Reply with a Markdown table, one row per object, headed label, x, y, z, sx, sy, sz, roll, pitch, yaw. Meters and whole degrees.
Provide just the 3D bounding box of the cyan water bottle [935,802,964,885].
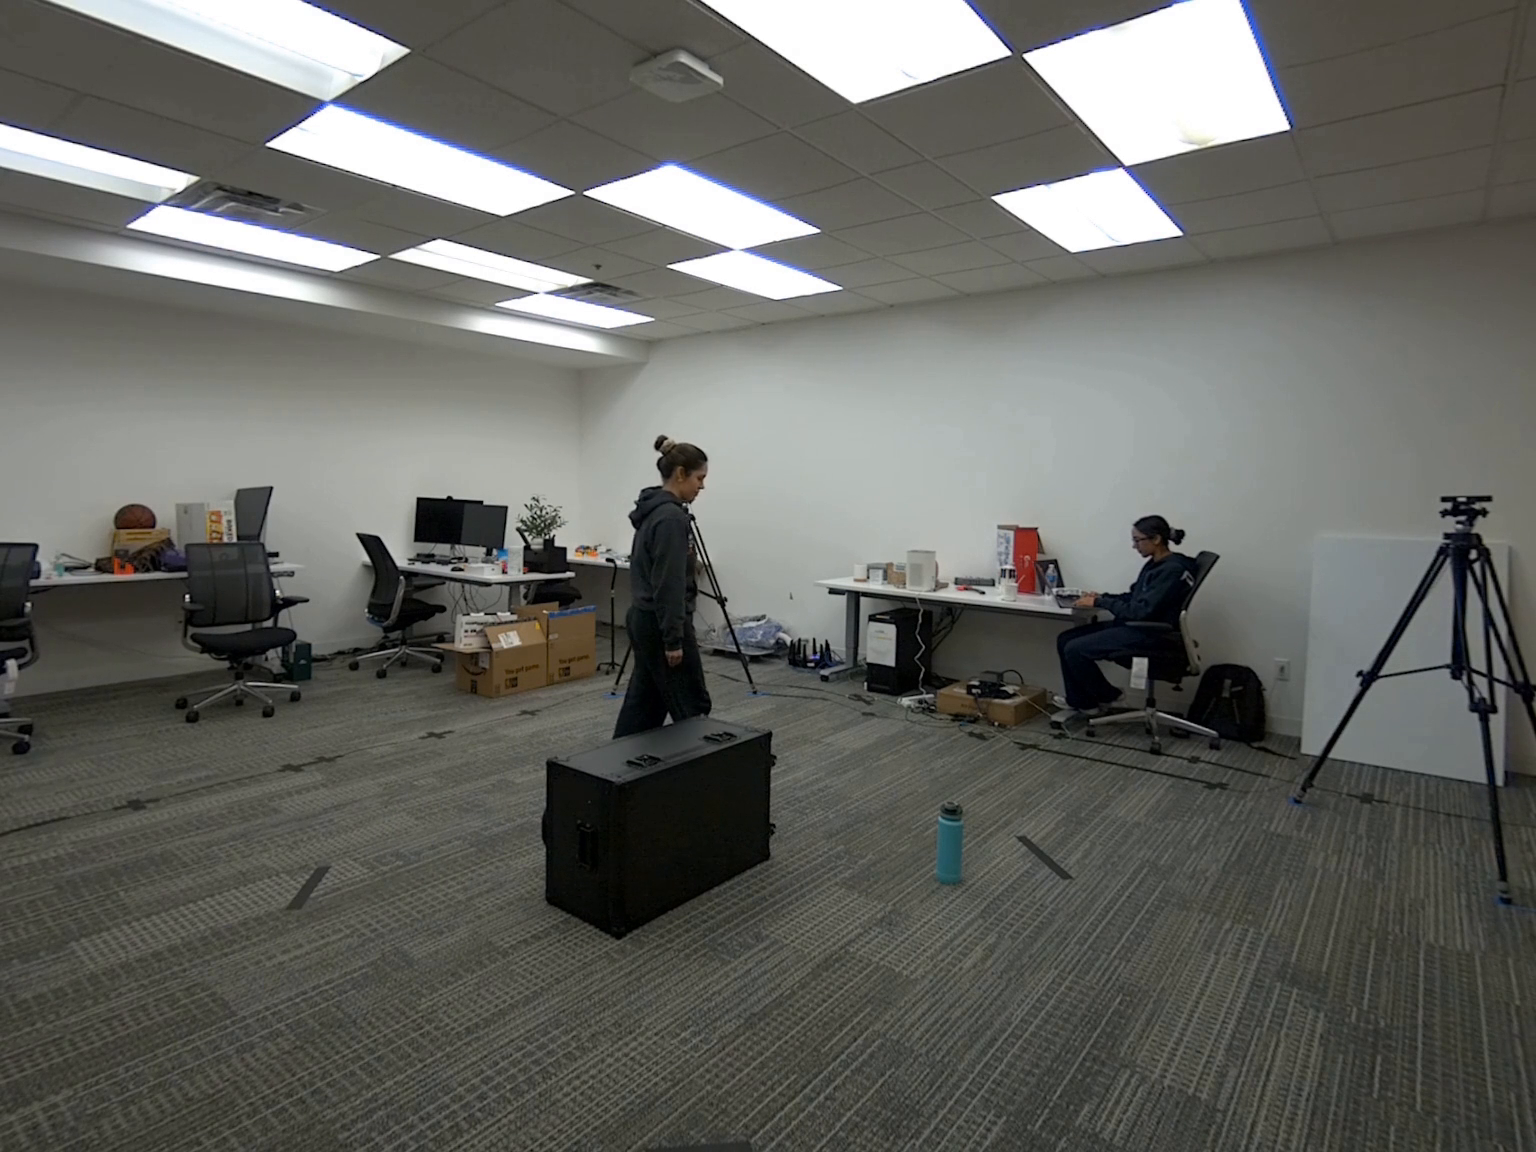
| label | x | y | z | sx | sy | sz | roll | pitch | yaw |
| --- | --- | --- | --- | --- | --- | --- | --- | --- | --- |
| cyan water bottle | 0.661 | 0.951 | 3.064 | 0.092 | 0.283 | 0.093 | 2 | 3 | -2 |
